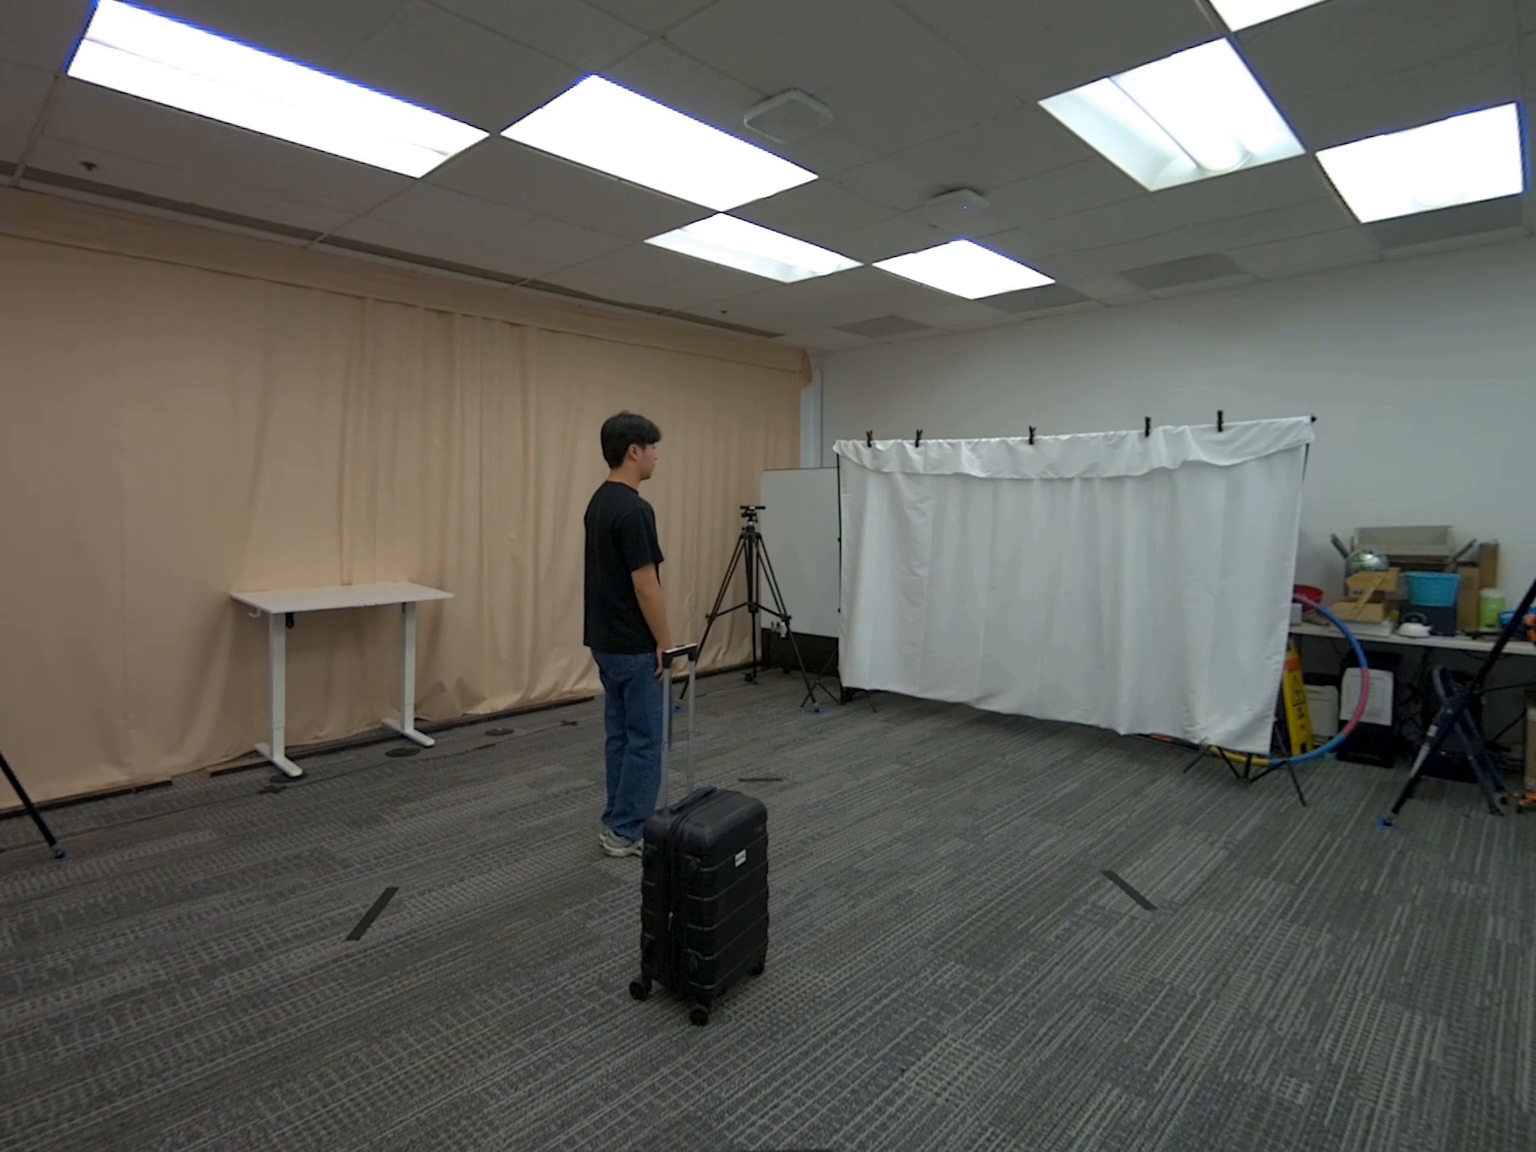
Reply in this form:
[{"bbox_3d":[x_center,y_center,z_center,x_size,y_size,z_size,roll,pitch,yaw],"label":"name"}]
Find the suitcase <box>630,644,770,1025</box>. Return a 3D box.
[{"bbox_3d":[-0.164,0.718,2.420,0.265,0.976,0.373,6,6,31],"label":"suitcase"}]
